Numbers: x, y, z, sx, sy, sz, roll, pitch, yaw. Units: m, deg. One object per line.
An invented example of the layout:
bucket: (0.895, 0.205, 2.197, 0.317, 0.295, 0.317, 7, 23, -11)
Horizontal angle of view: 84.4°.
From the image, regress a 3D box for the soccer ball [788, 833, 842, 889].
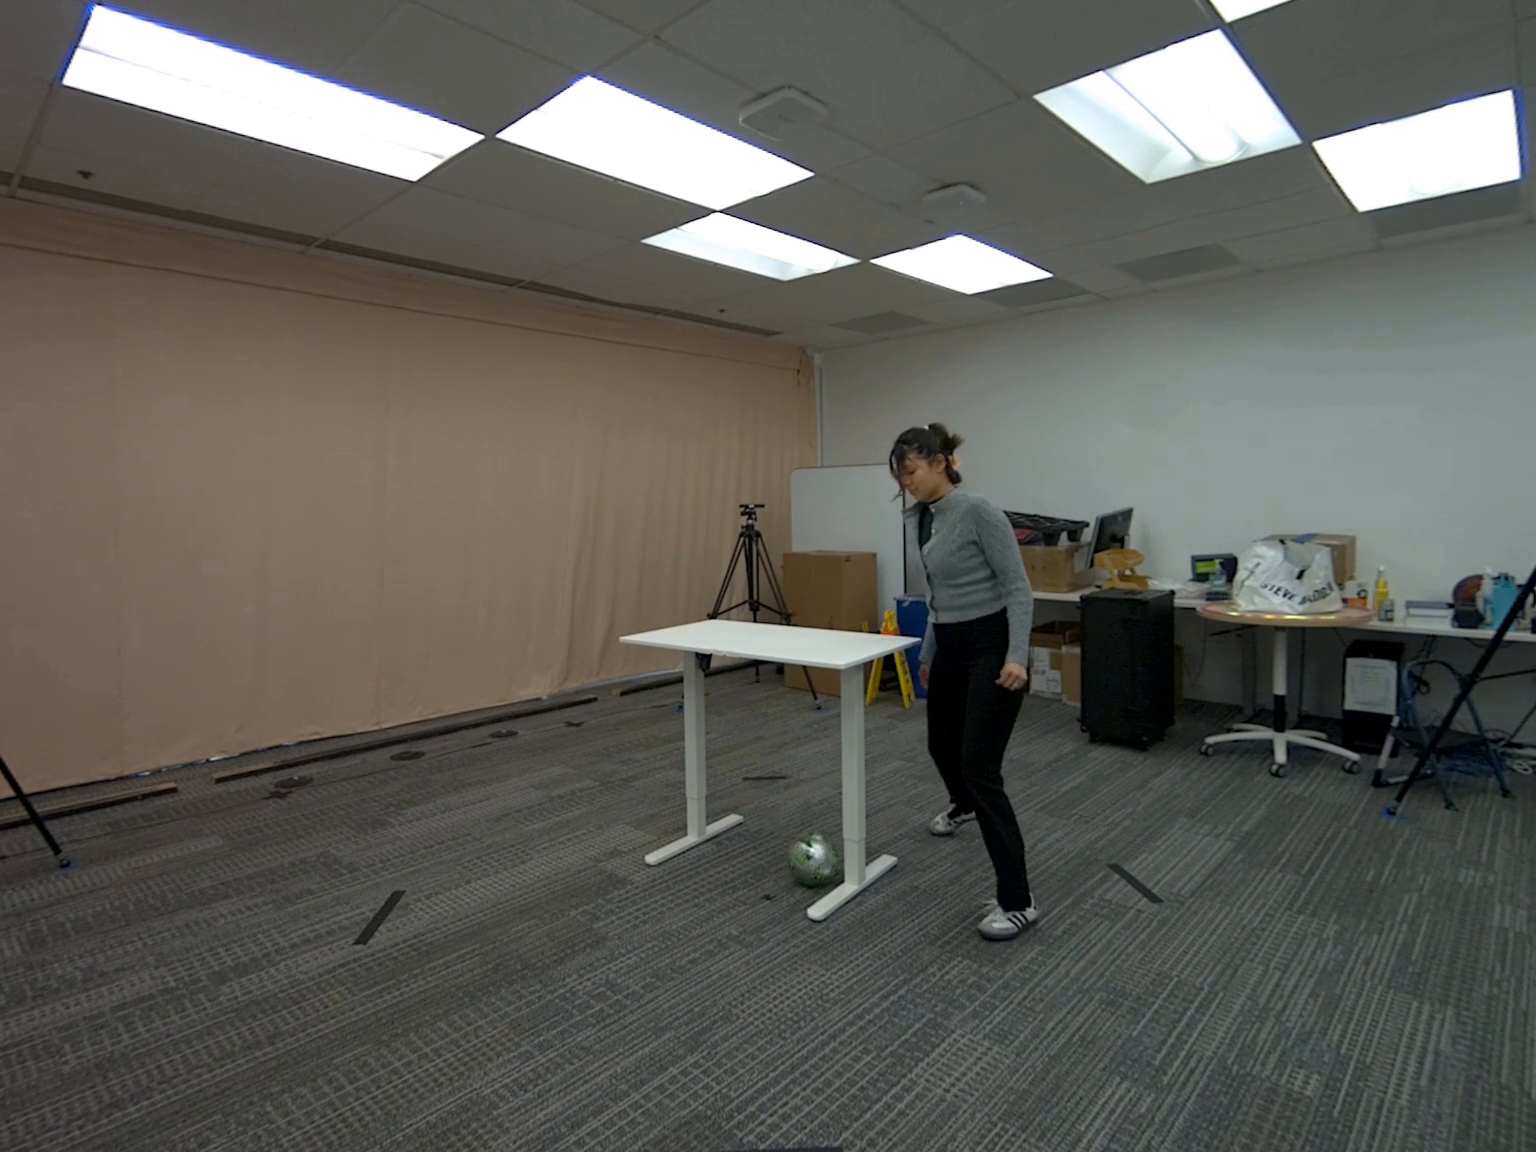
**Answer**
soccer ball: (0.163, 1.036, 3.087, 0.187, 0.187, 0.188, -1, 4, -2)
